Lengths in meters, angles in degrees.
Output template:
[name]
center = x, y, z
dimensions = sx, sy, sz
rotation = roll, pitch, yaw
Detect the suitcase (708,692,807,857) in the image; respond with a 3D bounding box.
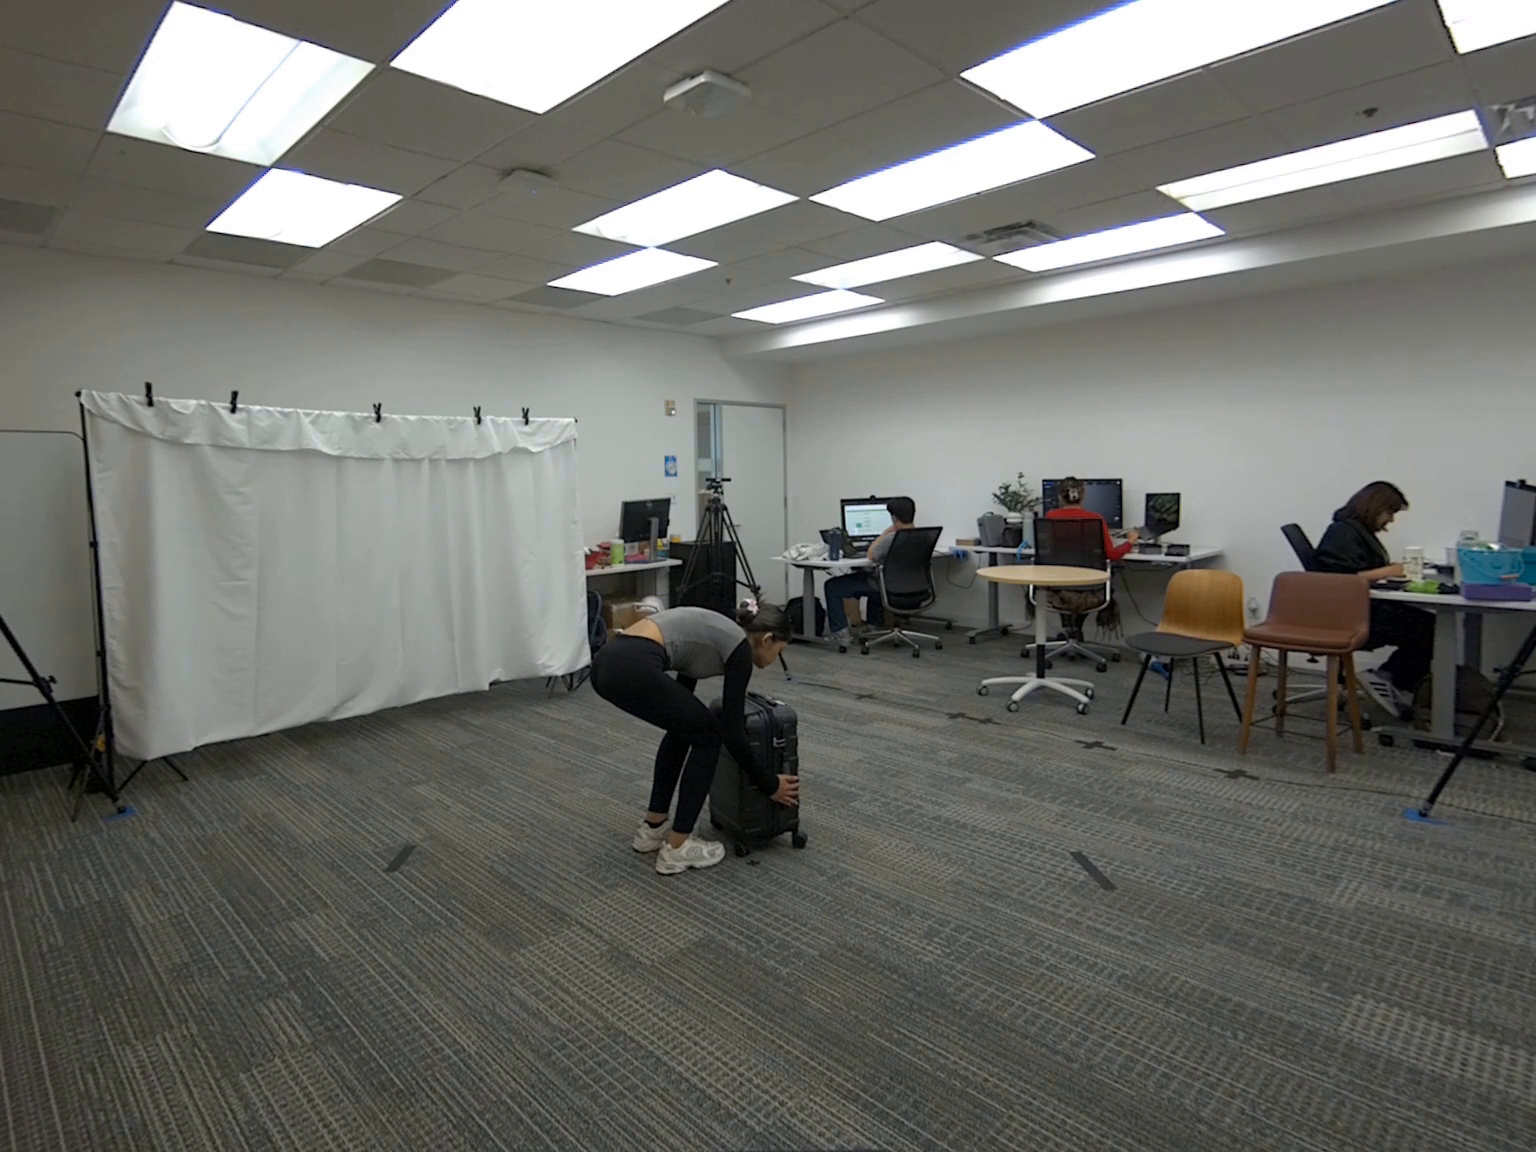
[suitcase]
center = -0.056, 0.742, 3.312
dimensions = 0.243, 0.547, 0.385
rotation = -4, 5, -26
